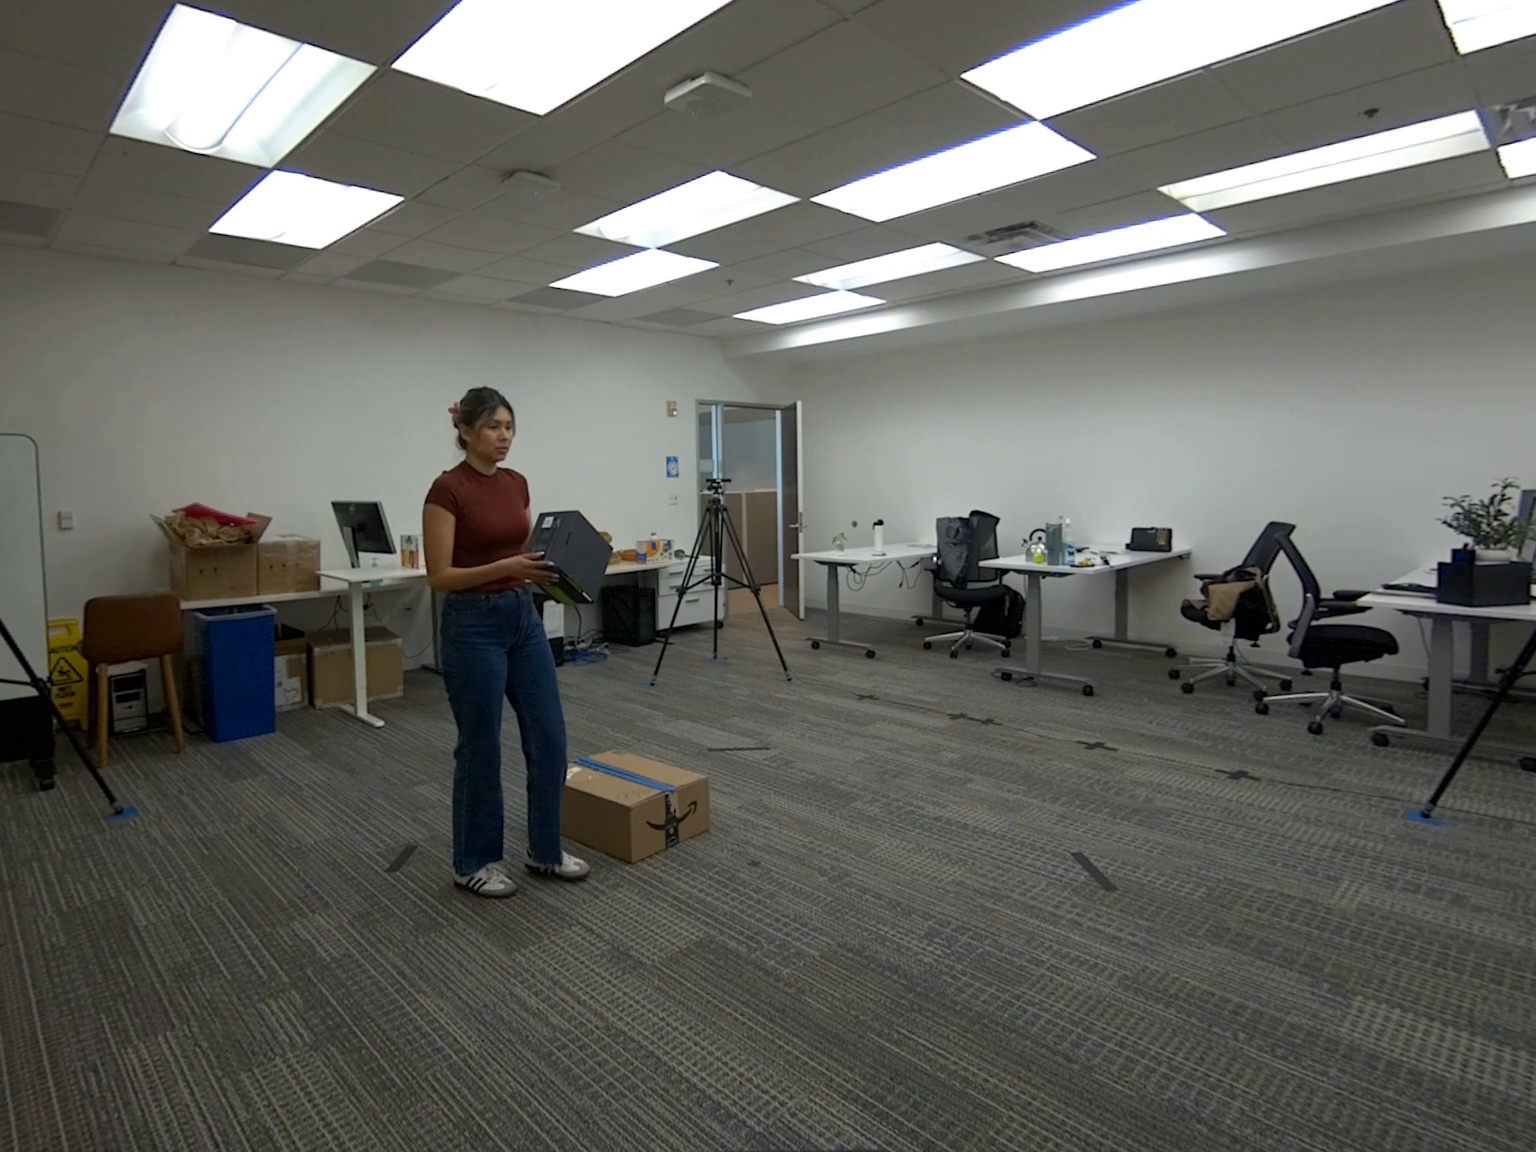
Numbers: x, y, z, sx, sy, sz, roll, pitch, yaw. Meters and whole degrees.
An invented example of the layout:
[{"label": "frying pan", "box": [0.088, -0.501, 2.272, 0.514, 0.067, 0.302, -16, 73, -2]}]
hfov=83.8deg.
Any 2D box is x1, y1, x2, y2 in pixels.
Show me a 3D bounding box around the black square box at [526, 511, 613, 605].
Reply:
[{"label": "black square box", "box": [-0.643, -0.054, 2.756, 0.159, 0.220, 0.219, -2, -35, 26]}]
